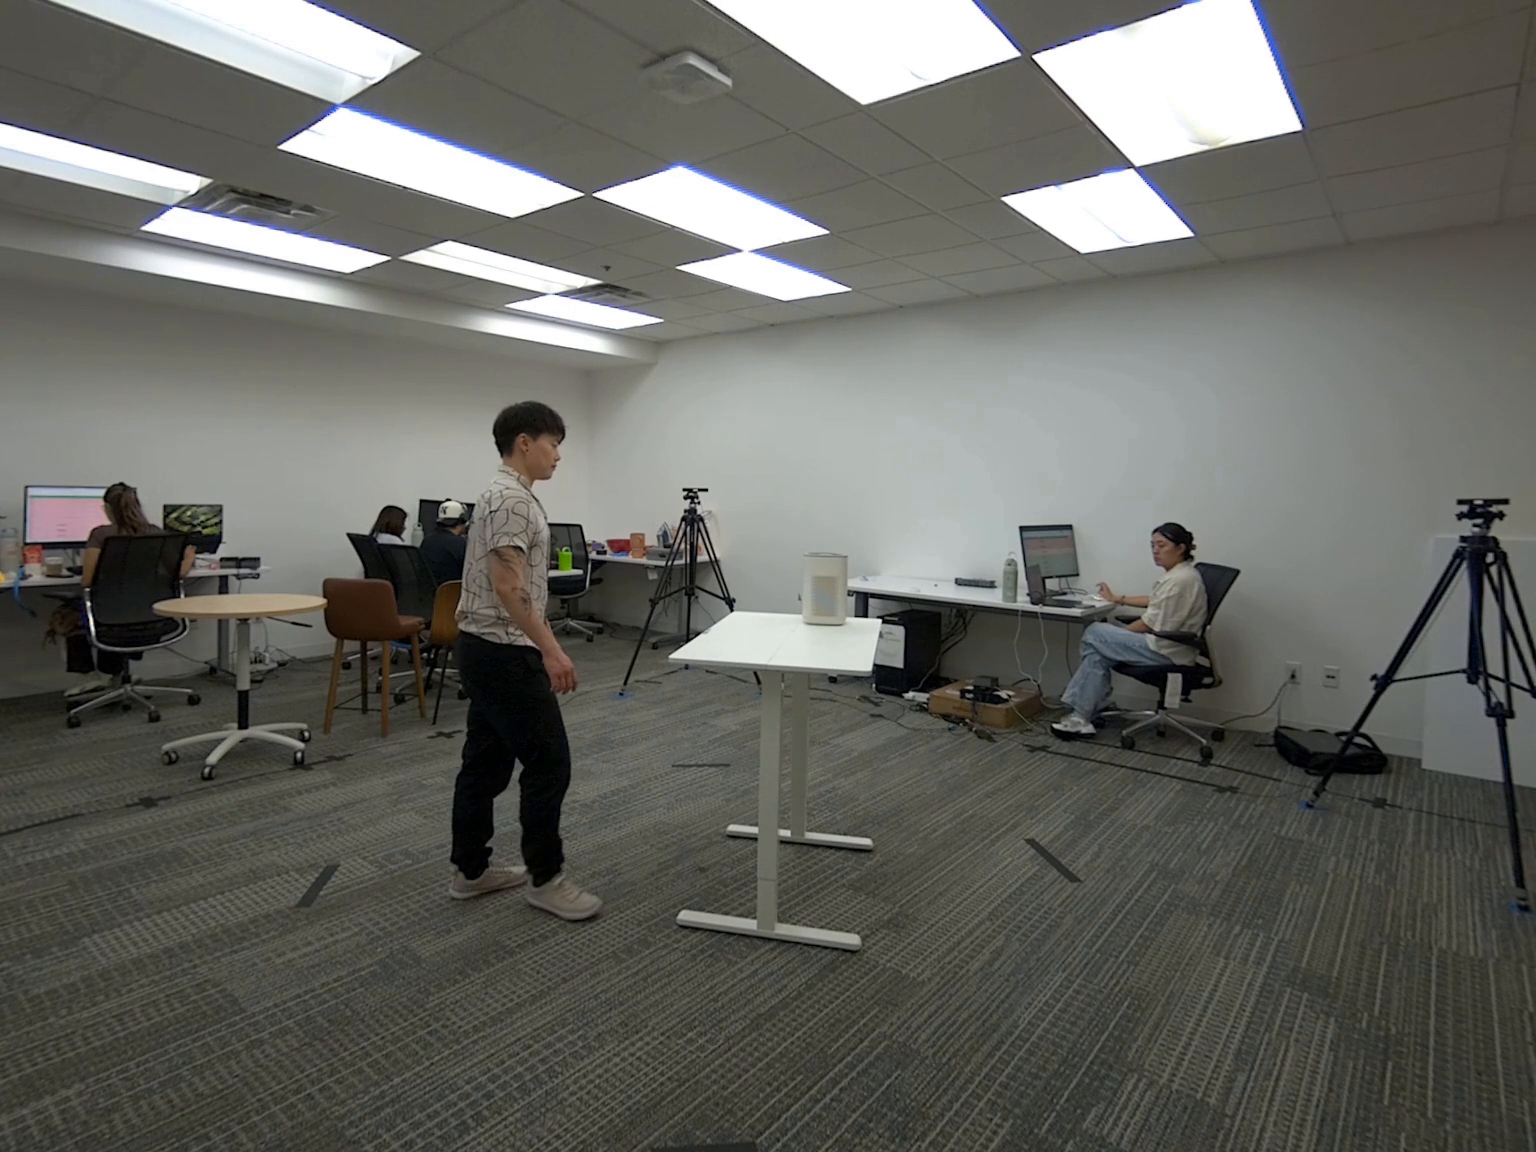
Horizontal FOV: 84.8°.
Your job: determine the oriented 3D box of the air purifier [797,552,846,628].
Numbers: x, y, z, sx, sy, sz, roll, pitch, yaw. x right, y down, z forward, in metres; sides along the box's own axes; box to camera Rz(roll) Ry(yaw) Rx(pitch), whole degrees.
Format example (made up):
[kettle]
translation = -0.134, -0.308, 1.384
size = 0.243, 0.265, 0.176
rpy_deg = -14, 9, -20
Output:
[air purifier]
translation = 0.203, 0.050, 3.259
size = 0.172, 0.264, 0.171
rpy_deg = 1, 5, 3
